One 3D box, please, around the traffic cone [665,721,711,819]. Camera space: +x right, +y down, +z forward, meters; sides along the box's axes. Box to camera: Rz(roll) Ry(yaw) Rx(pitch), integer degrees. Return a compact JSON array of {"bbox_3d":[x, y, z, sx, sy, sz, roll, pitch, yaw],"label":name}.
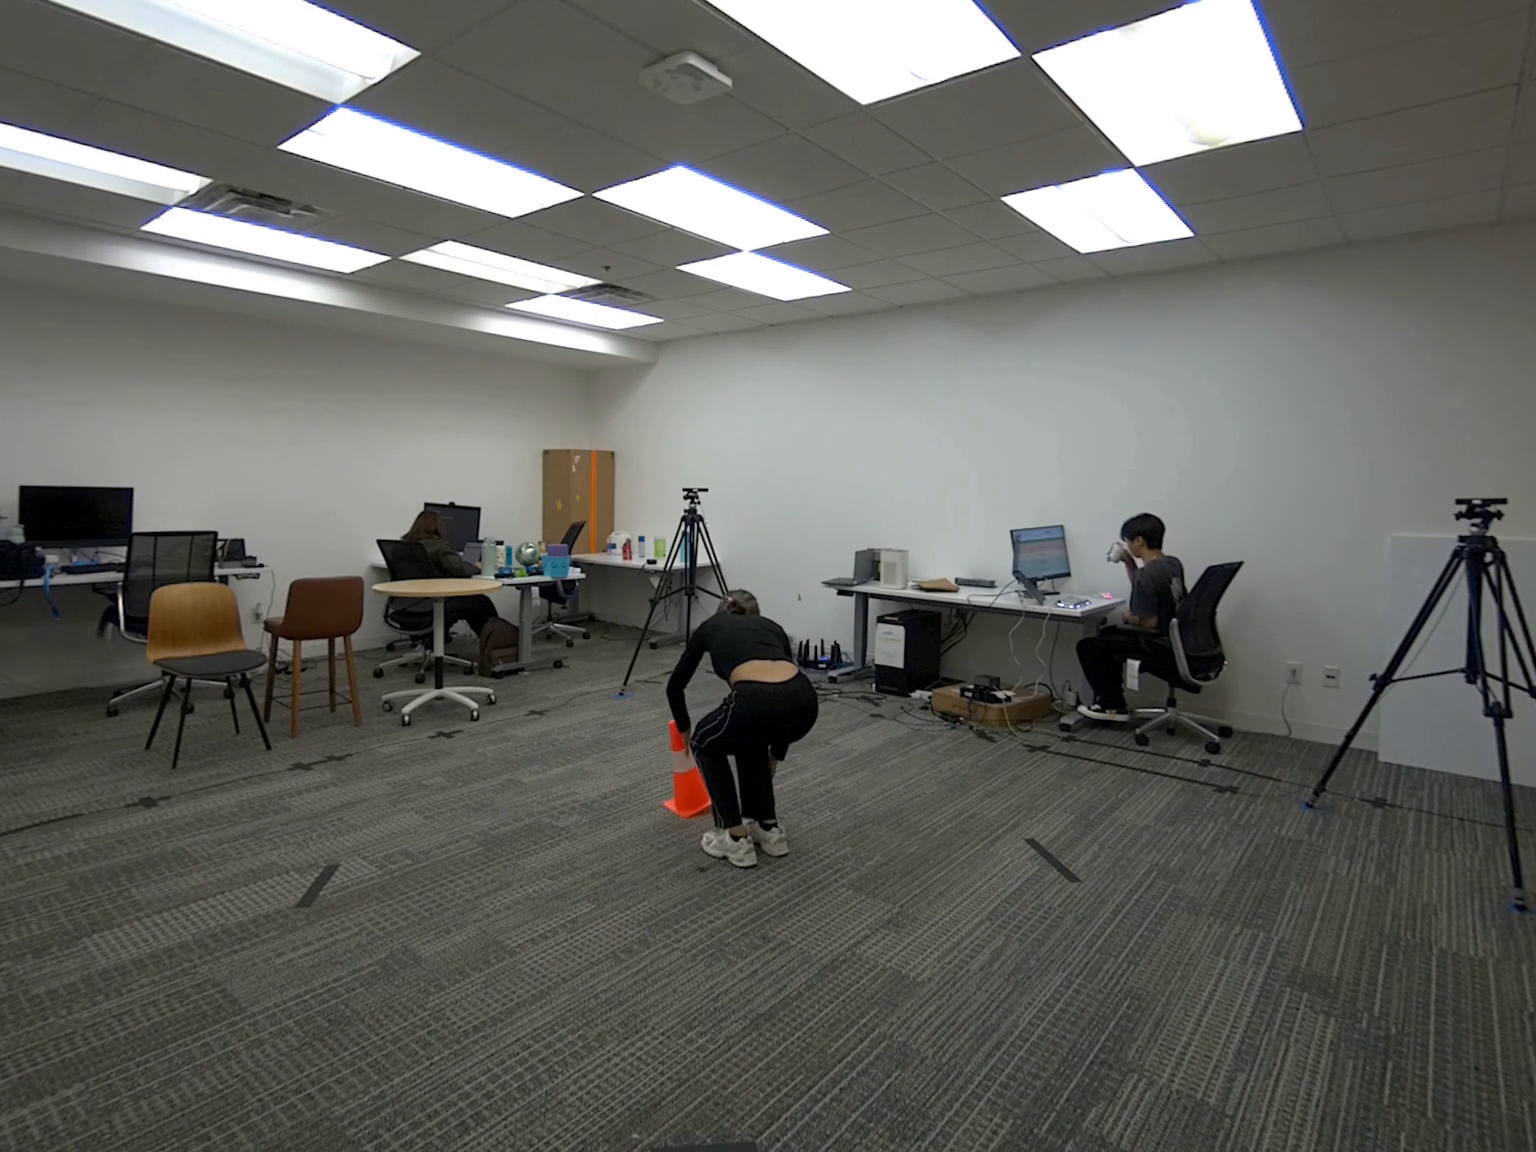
[{"bbox_3d":[-0.382,0.808,3.687,0.199,0.379,0.211,-19,12,-35],"label":"traffic cone"}]
